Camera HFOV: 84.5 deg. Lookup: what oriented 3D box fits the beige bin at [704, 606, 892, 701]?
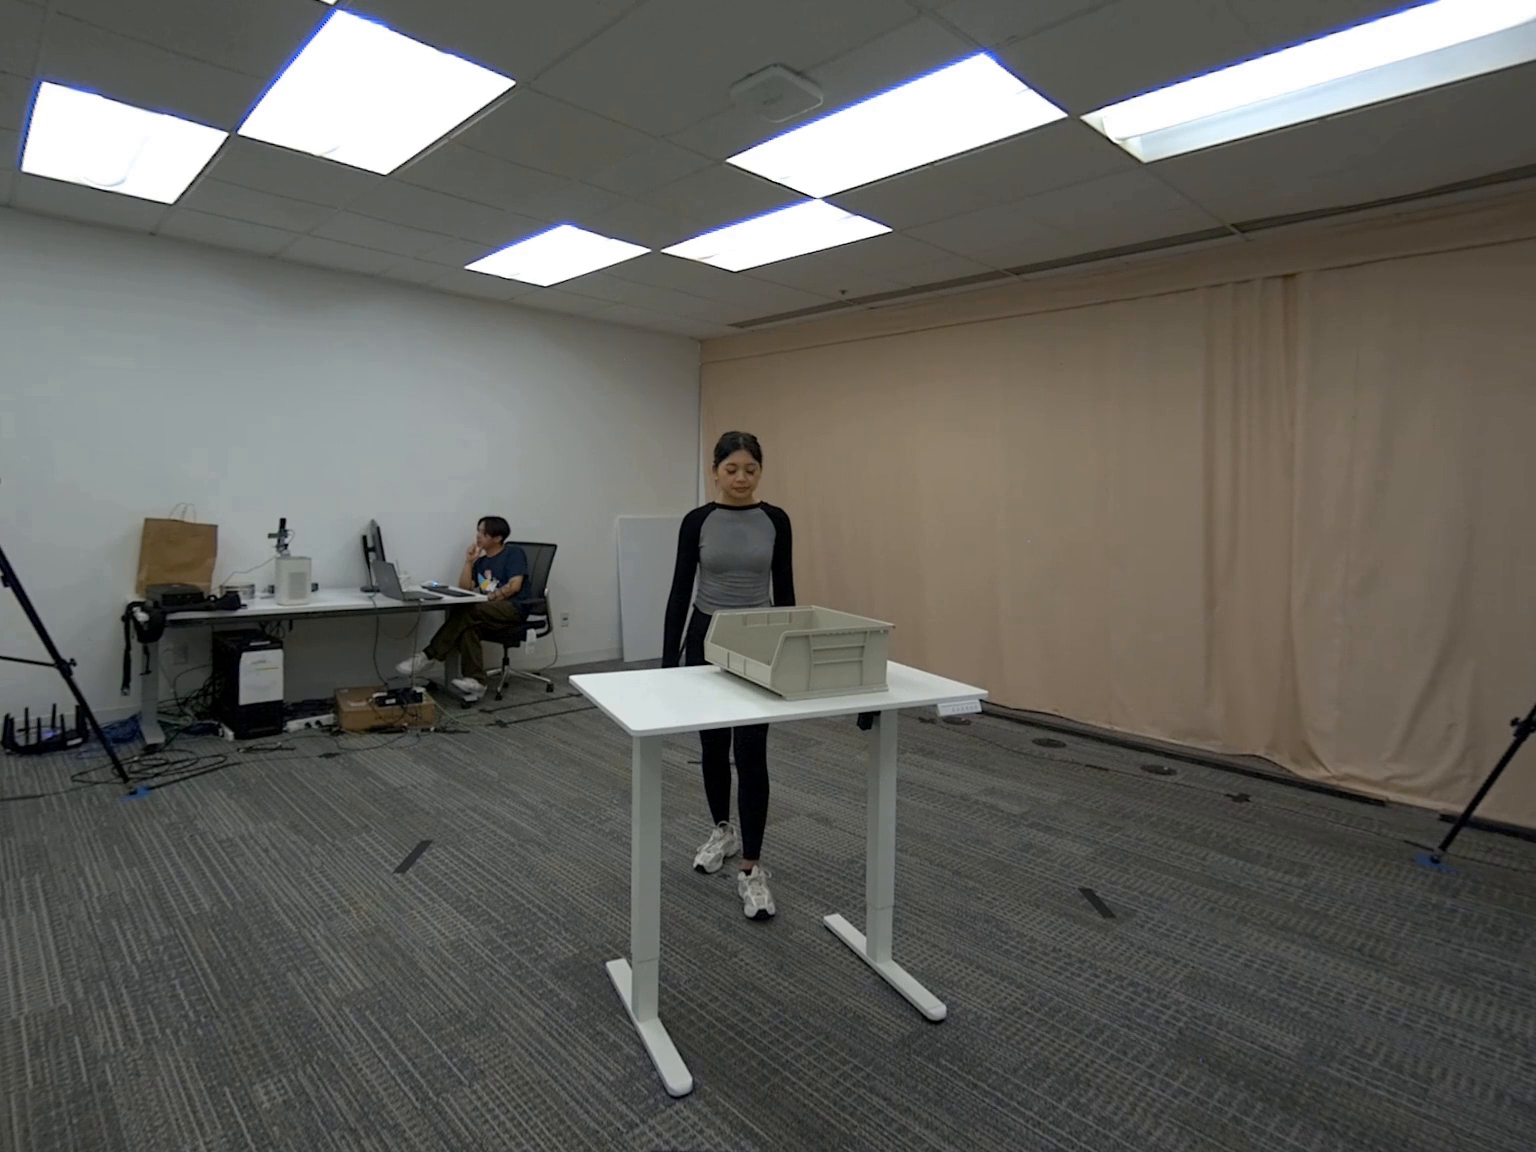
[{"bbox_3d":[0.066,0.215,2.350,0.370,0.188,0.432,-1,4,-30],"label":"beige bin"}]
